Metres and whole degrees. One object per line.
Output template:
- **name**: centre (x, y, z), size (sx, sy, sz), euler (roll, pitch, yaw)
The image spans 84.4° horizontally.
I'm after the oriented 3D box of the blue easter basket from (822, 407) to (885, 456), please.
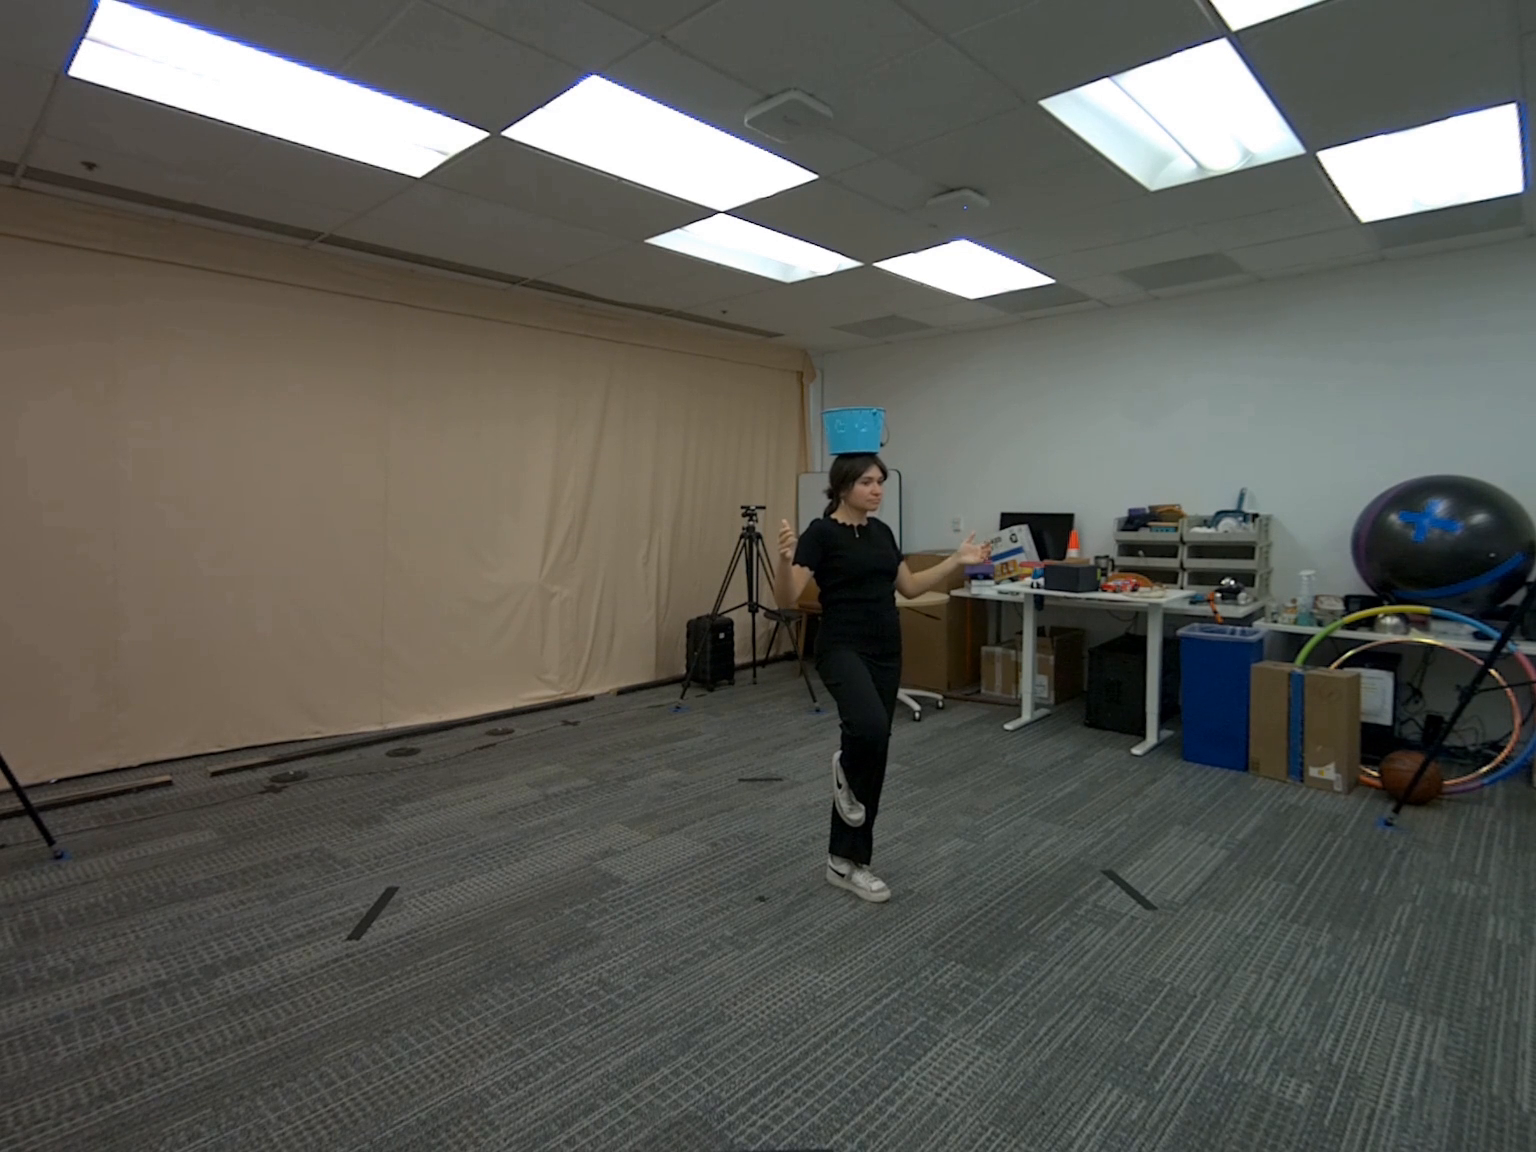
- **blue easter basket**: centre (0.321, -0.520, 3.041), size (0.243, 0.155, 0.244), euler (0, 4, -2)
